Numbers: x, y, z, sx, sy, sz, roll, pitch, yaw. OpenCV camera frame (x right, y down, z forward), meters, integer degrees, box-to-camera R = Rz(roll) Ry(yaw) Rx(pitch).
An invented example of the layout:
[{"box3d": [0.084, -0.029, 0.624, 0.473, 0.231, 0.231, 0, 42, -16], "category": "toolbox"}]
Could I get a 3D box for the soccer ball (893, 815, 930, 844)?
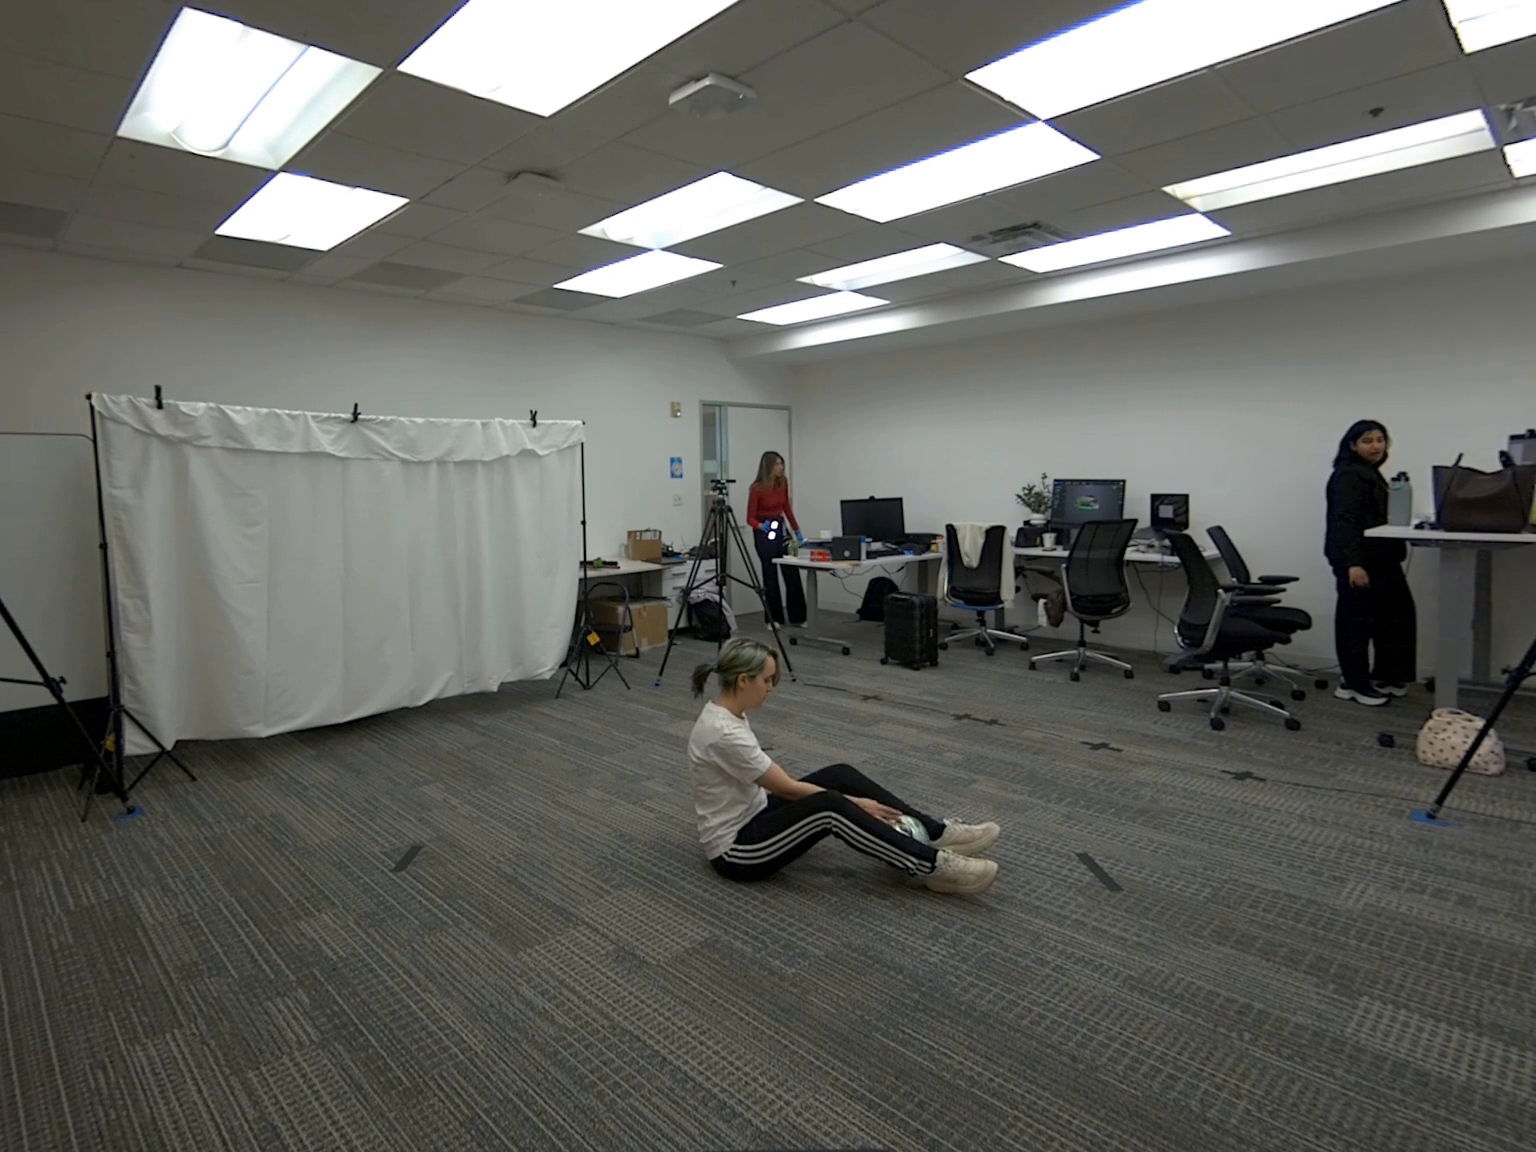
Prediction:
[{"box3d": [0.459, 0.942, 2.991, 0.187, 0.187, 0.188, -1, 5, -2], "category": "soccer ball"}]
